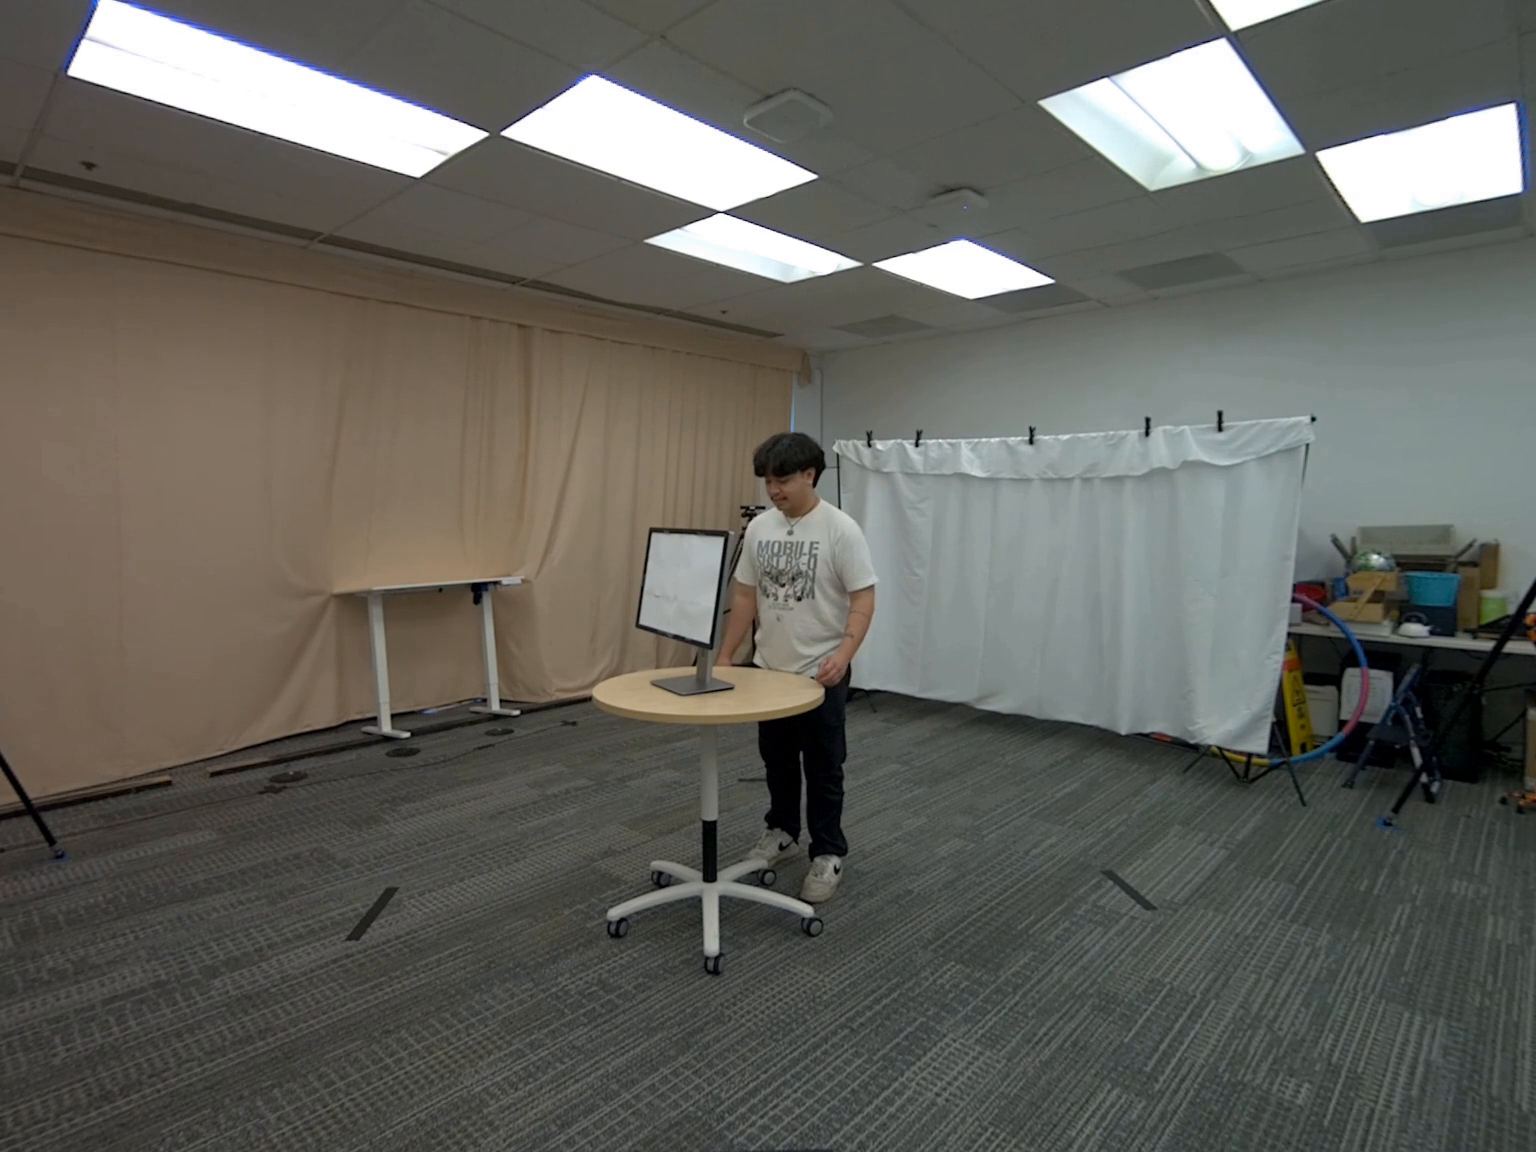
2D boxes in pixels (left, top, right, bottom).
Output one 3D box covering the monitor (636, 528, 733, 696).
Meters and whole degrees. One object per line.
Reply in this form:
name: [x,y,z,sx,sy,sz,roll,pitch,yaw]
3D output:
monitor: [-0.232,0.115,2.811,0.204,0.554,0.582,3,1,-33]
